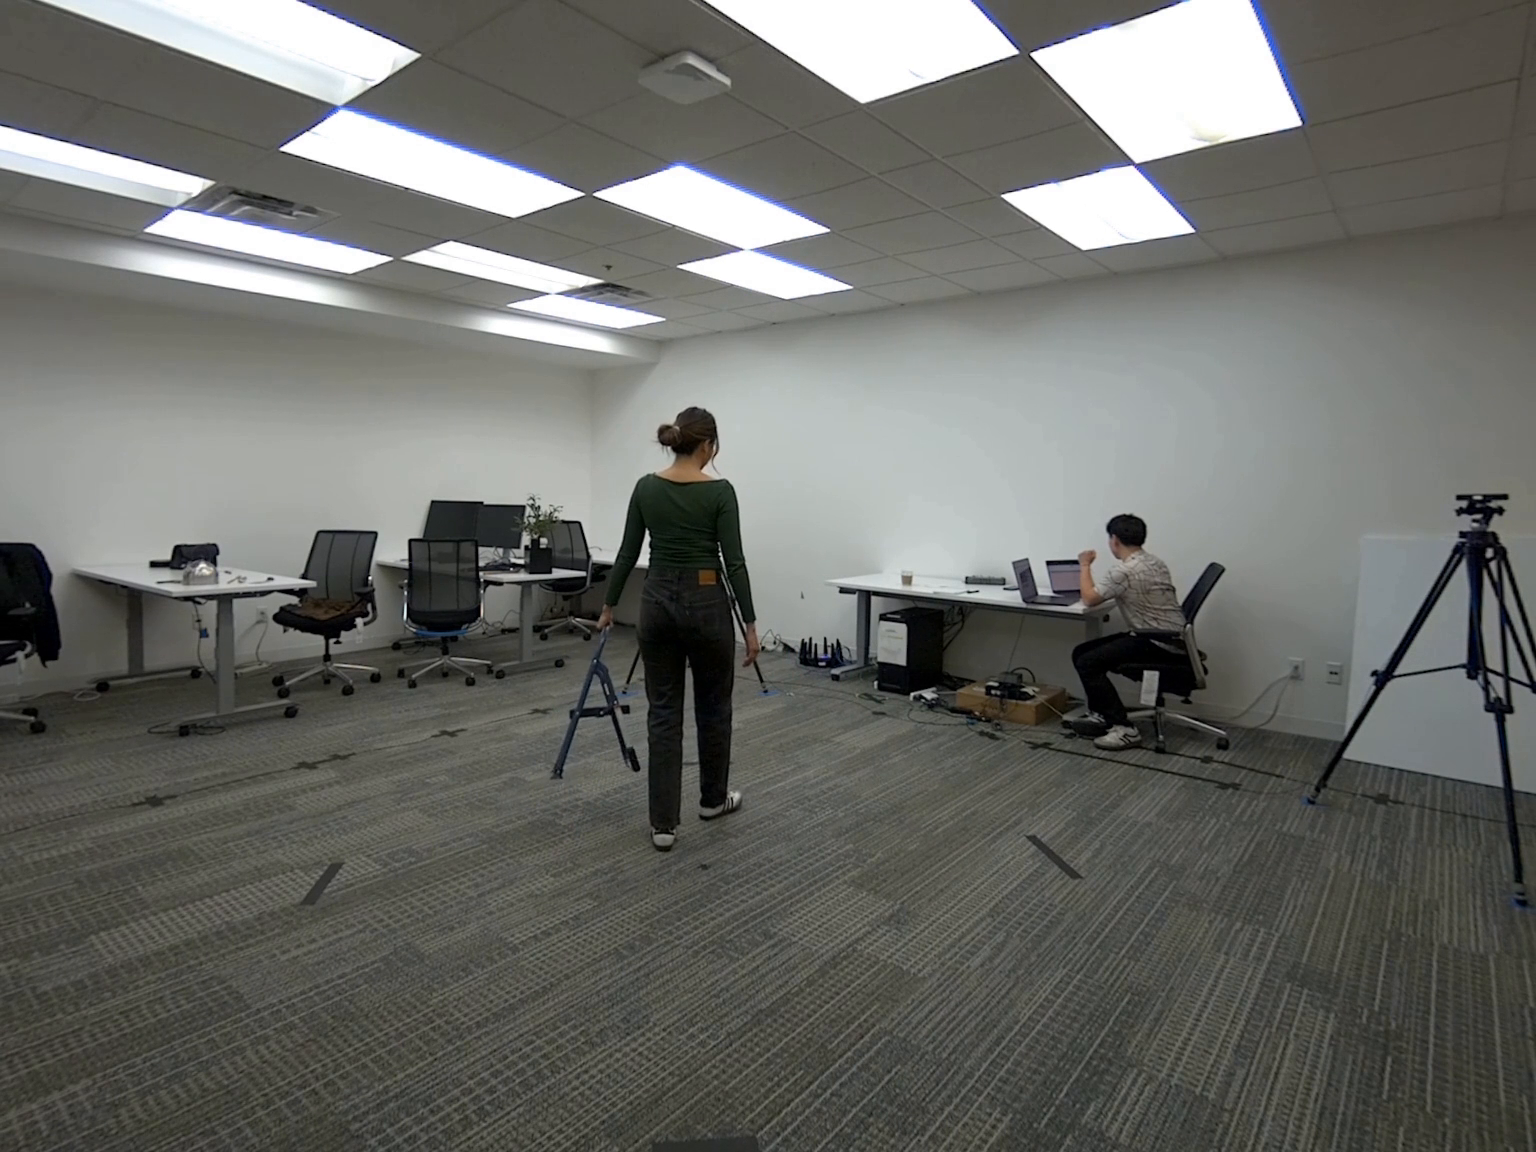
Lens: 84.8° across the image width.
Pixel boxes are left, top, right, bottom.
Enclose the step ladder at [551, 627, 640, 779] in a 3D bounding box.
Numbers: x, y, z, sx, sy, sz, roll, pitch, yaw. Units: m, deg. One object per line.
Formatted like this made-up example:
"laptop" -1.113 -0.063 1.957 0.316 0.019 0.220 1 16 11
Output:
"step ladder" -0.757 0.510 3.588 0.345 0.612 0.431 -2 -9 -12
